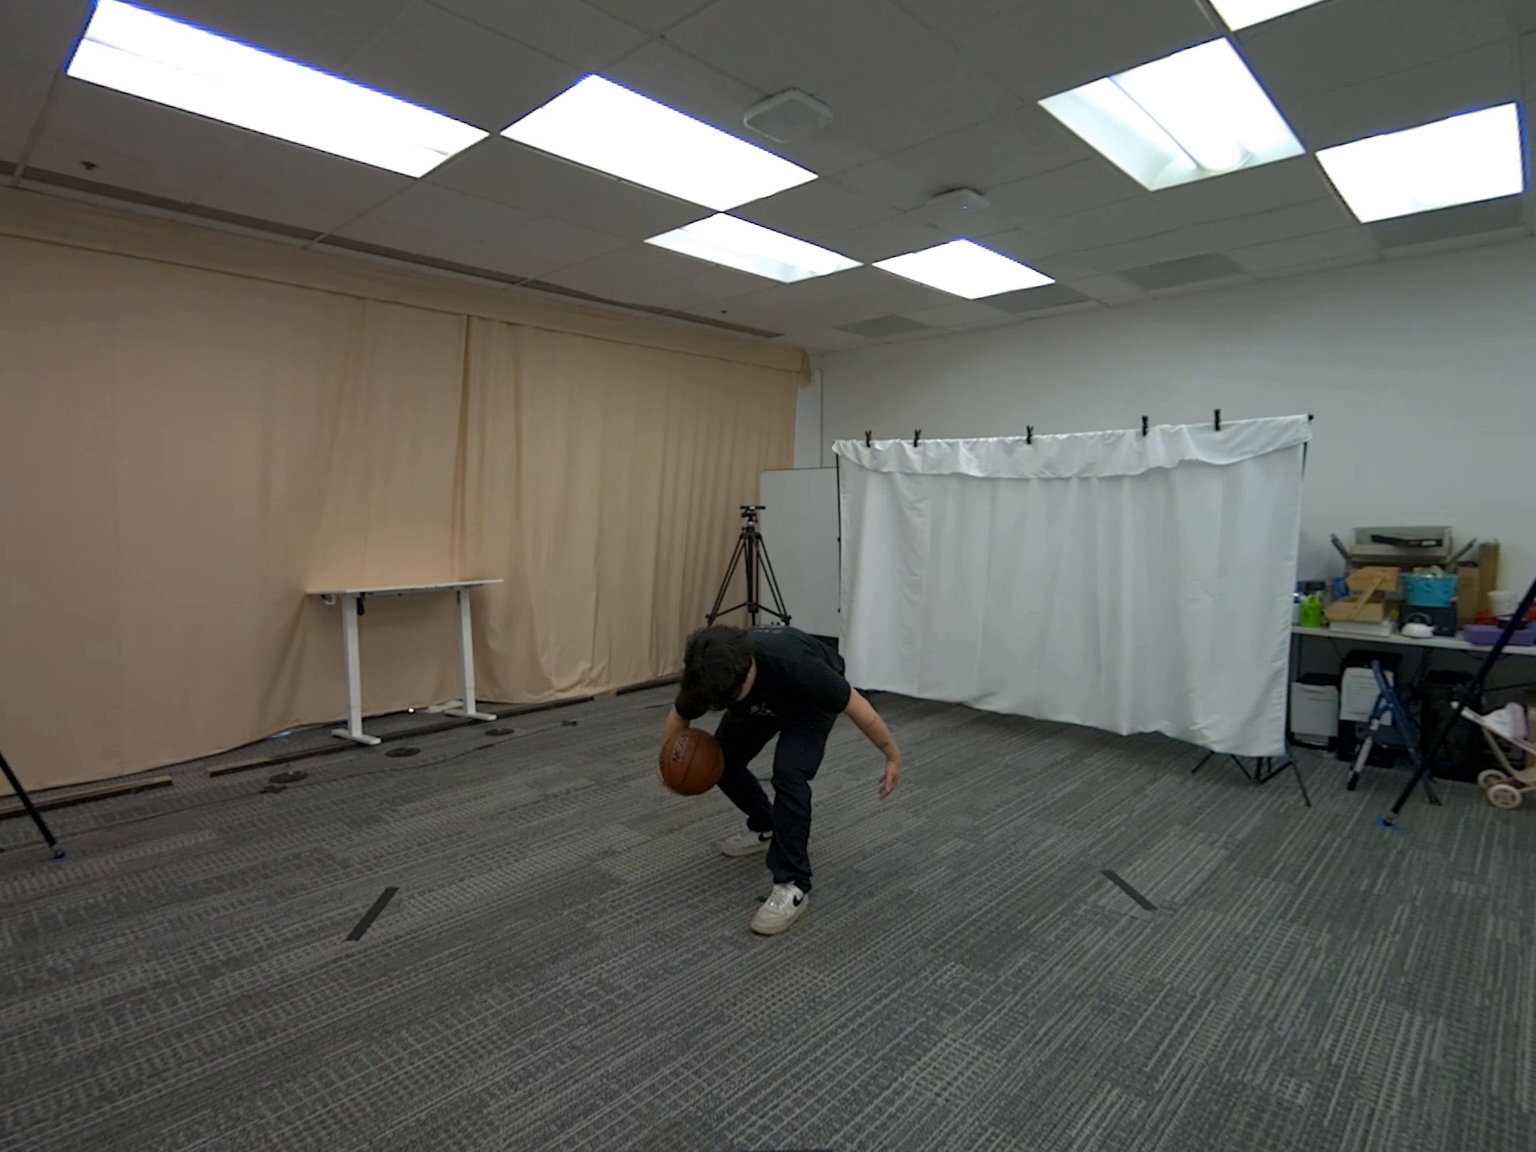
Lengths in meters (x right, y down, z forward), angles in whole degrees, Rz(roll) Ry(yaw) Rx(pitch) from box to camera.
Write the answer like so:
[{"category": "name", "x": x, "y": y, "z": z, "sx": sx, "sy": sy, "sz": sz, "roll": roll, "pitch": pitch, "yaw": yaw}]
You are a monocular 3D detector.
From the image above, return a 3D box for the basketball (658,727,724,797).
[{"category": "basketball", "x": -0.265, "y": 0.677, "z": 3.068, "sx": 0.236, "sy": 0.235, "sz": 0.237, "roll": 0, "pitch": 4, "yaw": -2}]
